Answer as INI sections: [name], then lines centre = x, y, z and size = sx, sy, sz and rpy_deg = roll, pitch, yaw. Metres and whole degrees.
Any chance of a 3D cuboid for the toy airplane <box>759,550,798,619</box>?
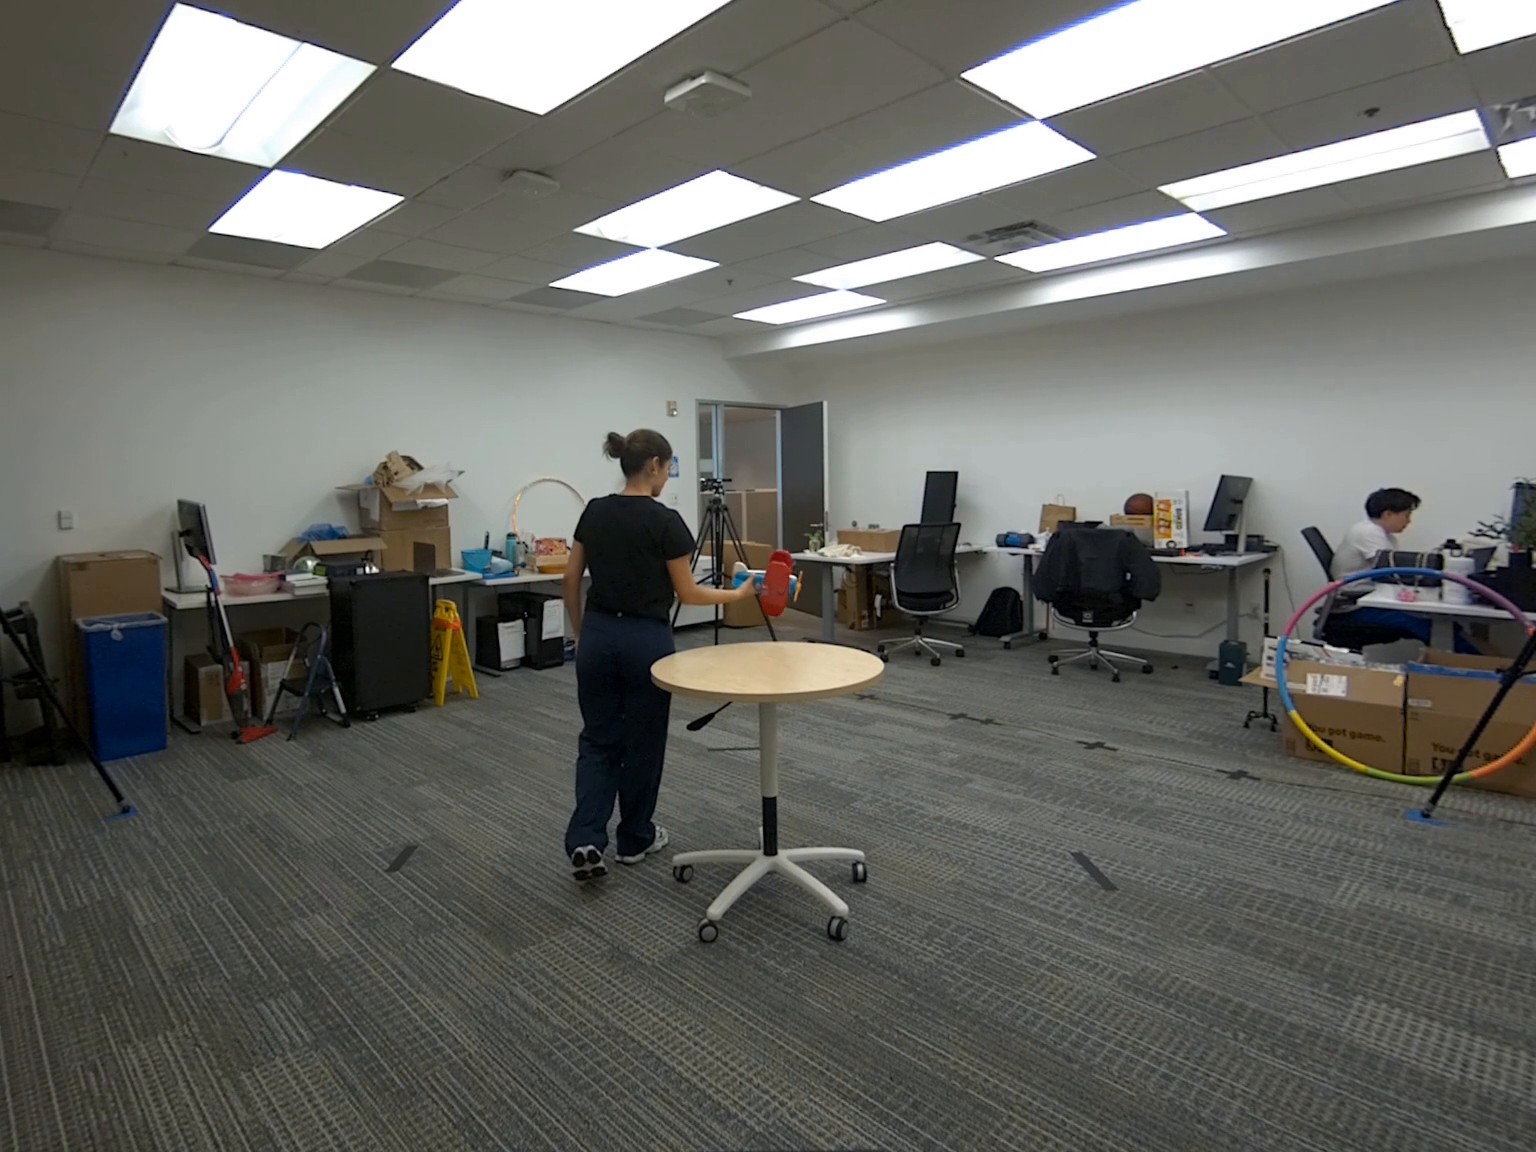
[toy airplane]
centre = -0.017, 0.032, 3.272
size = 0.261, 0.242, 0.161
rpy_deg = -21, 34, 10
